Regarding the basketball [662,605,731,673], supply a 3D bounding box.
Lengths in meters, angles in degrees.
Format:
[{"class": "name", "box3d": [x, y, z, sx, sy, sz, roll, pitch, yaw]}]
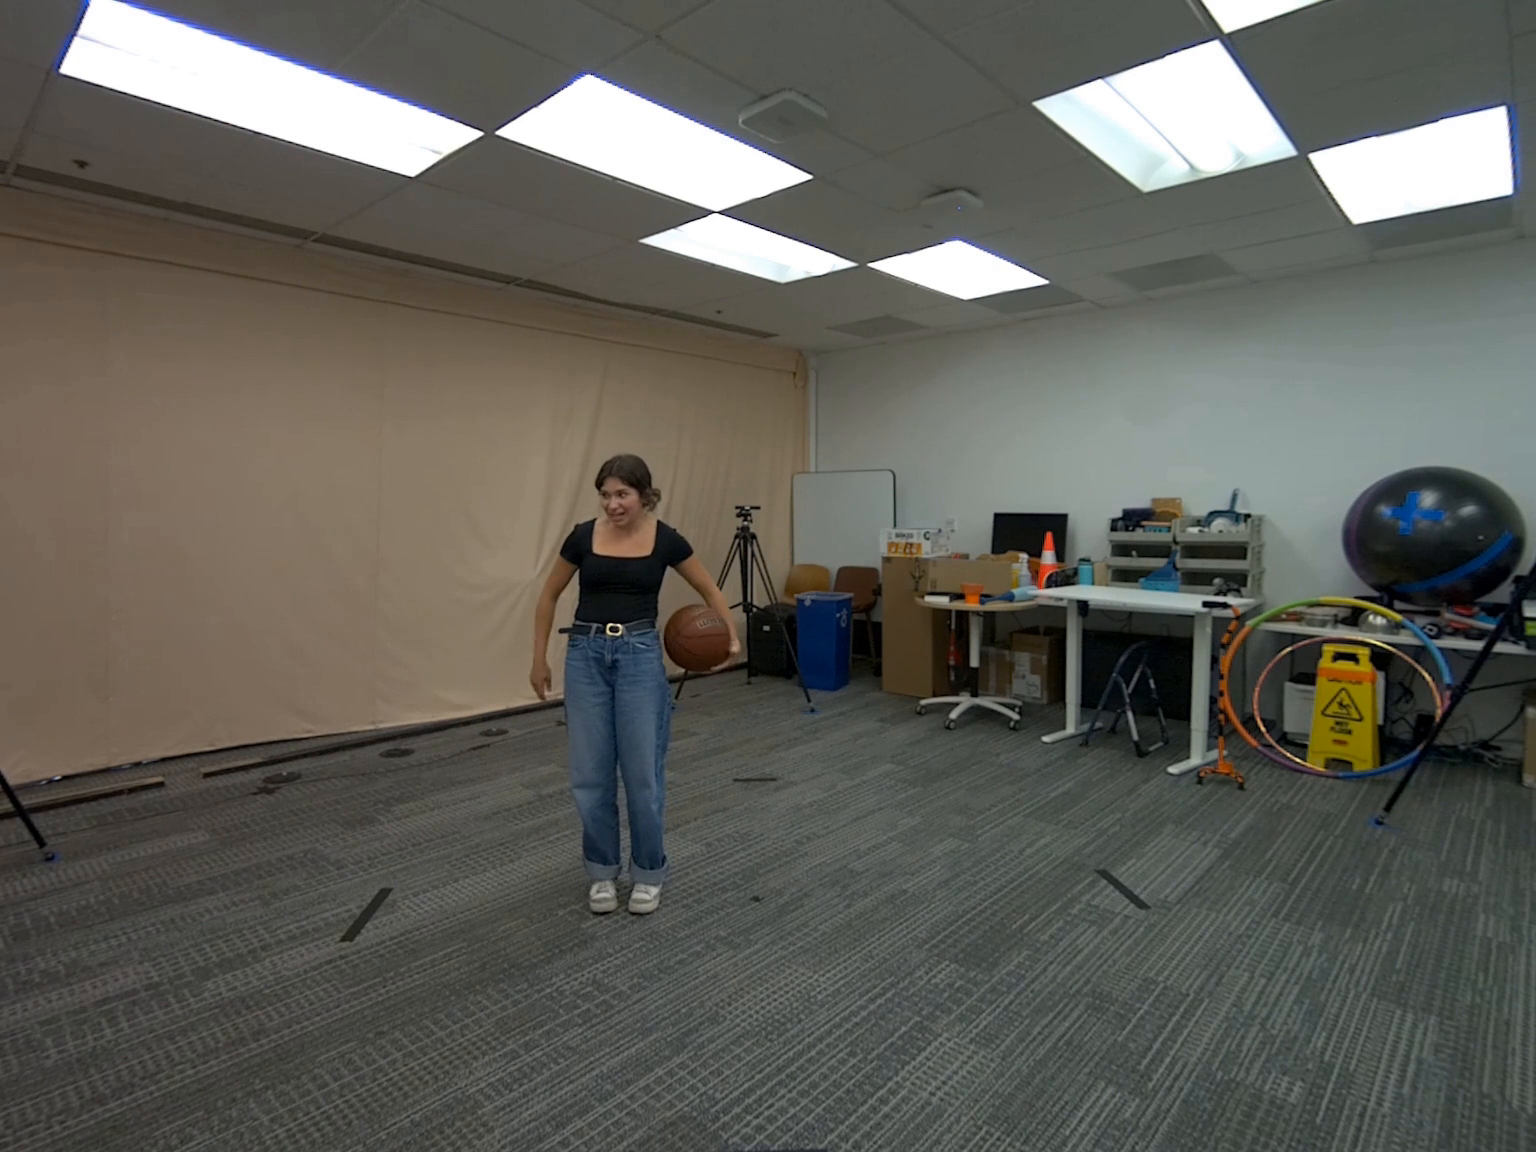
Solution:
[{"class": "basketball", "box3d": [-0.263, 0.216, 2.980, 0.236, 0.235, 0.237, 0, 4, -2]}]
